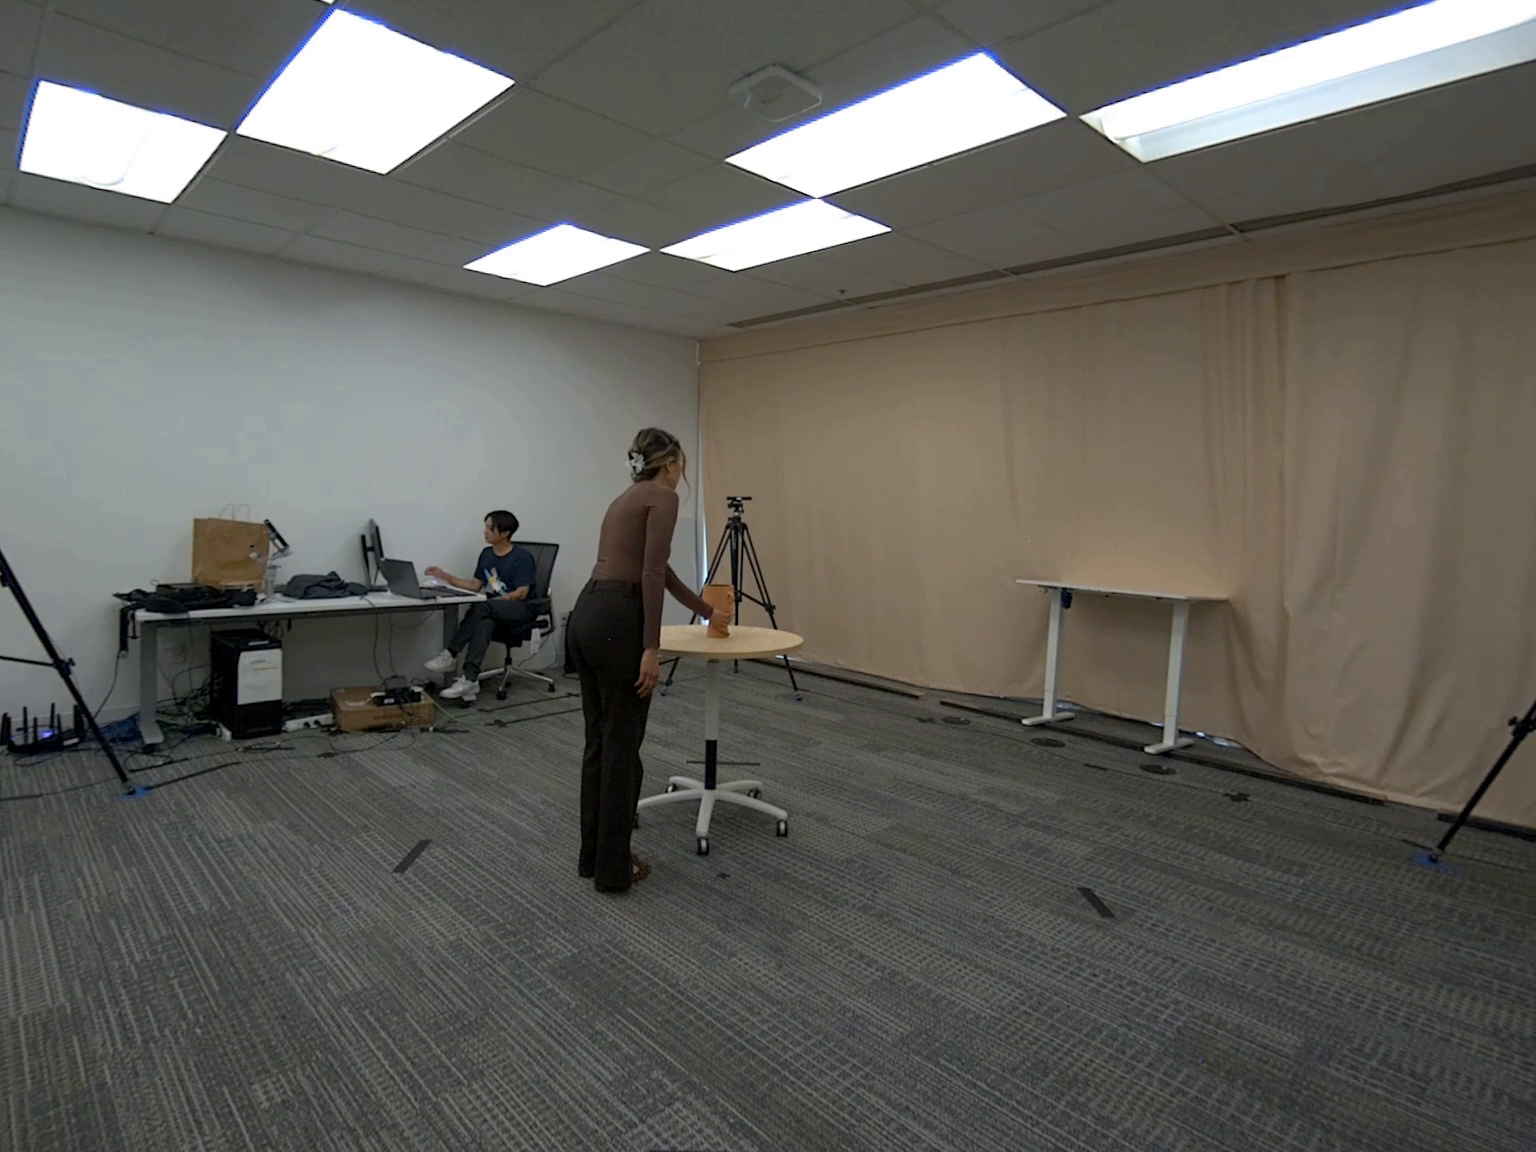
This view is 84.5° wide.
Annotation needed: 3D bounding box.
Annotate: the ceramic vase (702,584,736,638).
[{"bbox_3d":[-0.244,0.149,3.643,0.134,0.219,0.160,1,2,-8],"label":"ceramic vase"}]
